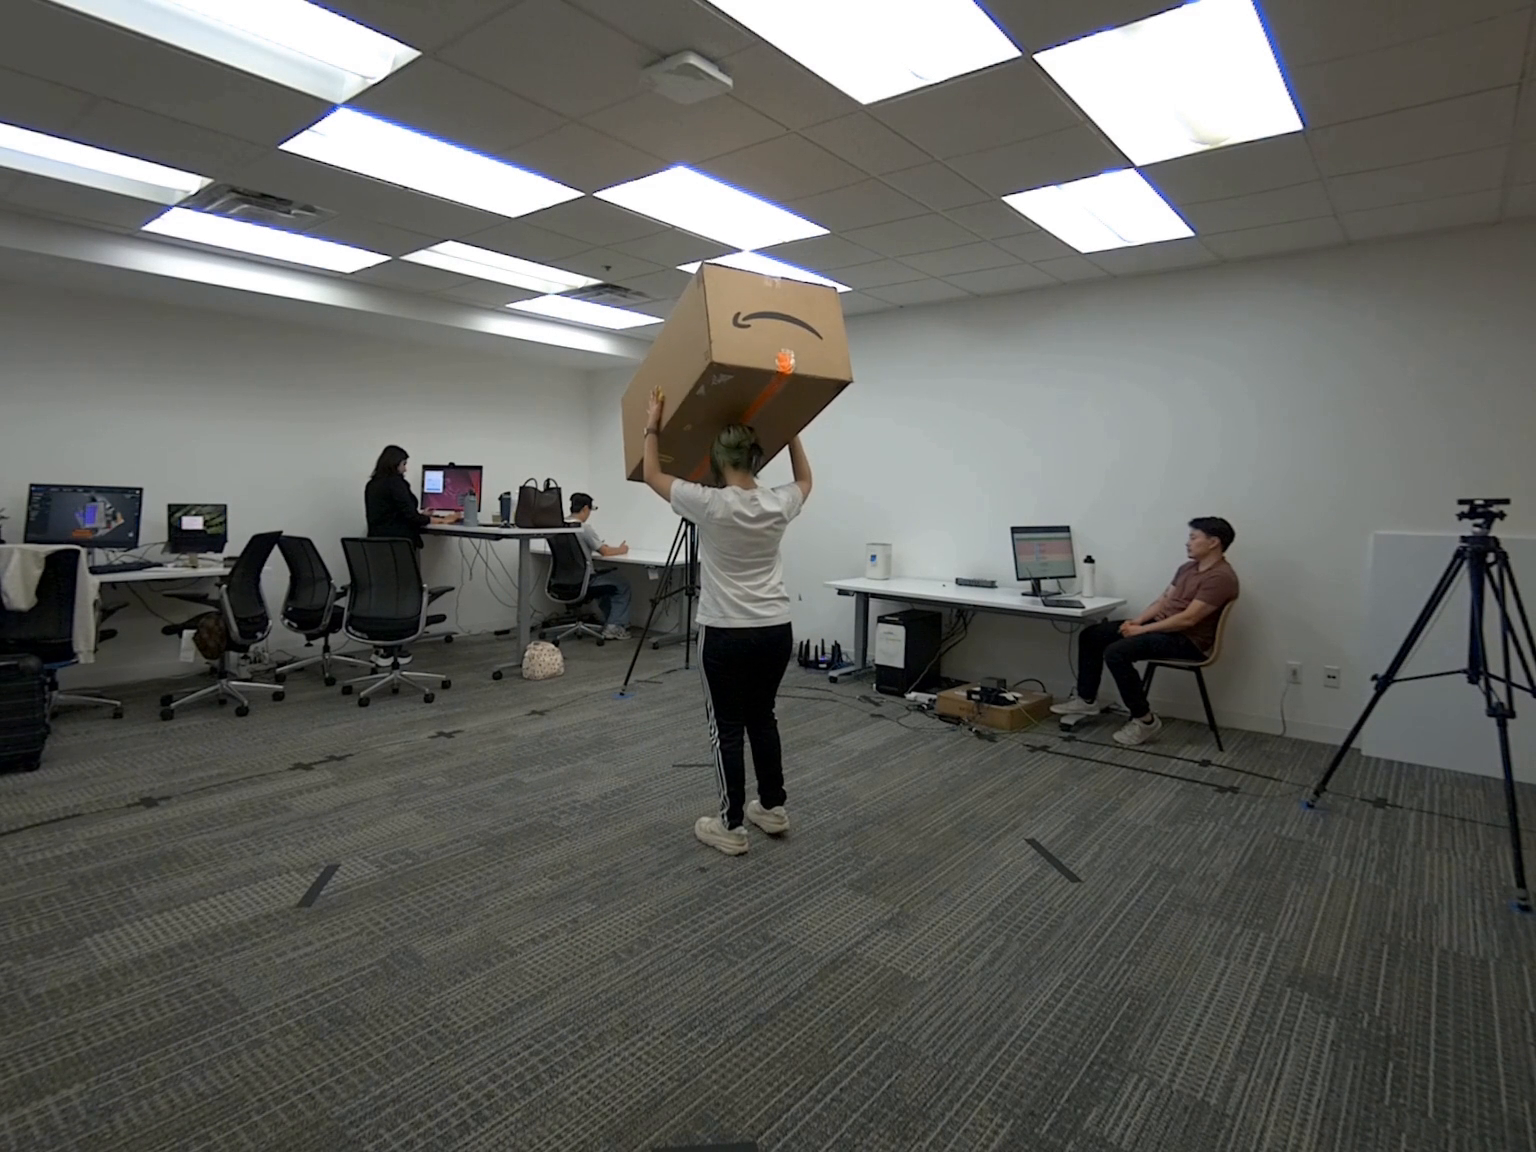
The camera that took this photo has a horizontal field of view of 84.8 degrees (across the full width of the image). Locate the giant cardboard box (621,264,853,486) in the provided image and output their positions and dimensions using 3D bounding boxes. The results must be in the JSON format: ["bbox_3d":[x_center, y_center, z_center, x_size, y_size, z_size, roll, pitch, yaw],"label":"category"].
[{"bbox_3d":[-0.190,-0.773,3.555,0.570,0.455,1.032,1,-19,-26],"label":"giant cardboard box"}]
